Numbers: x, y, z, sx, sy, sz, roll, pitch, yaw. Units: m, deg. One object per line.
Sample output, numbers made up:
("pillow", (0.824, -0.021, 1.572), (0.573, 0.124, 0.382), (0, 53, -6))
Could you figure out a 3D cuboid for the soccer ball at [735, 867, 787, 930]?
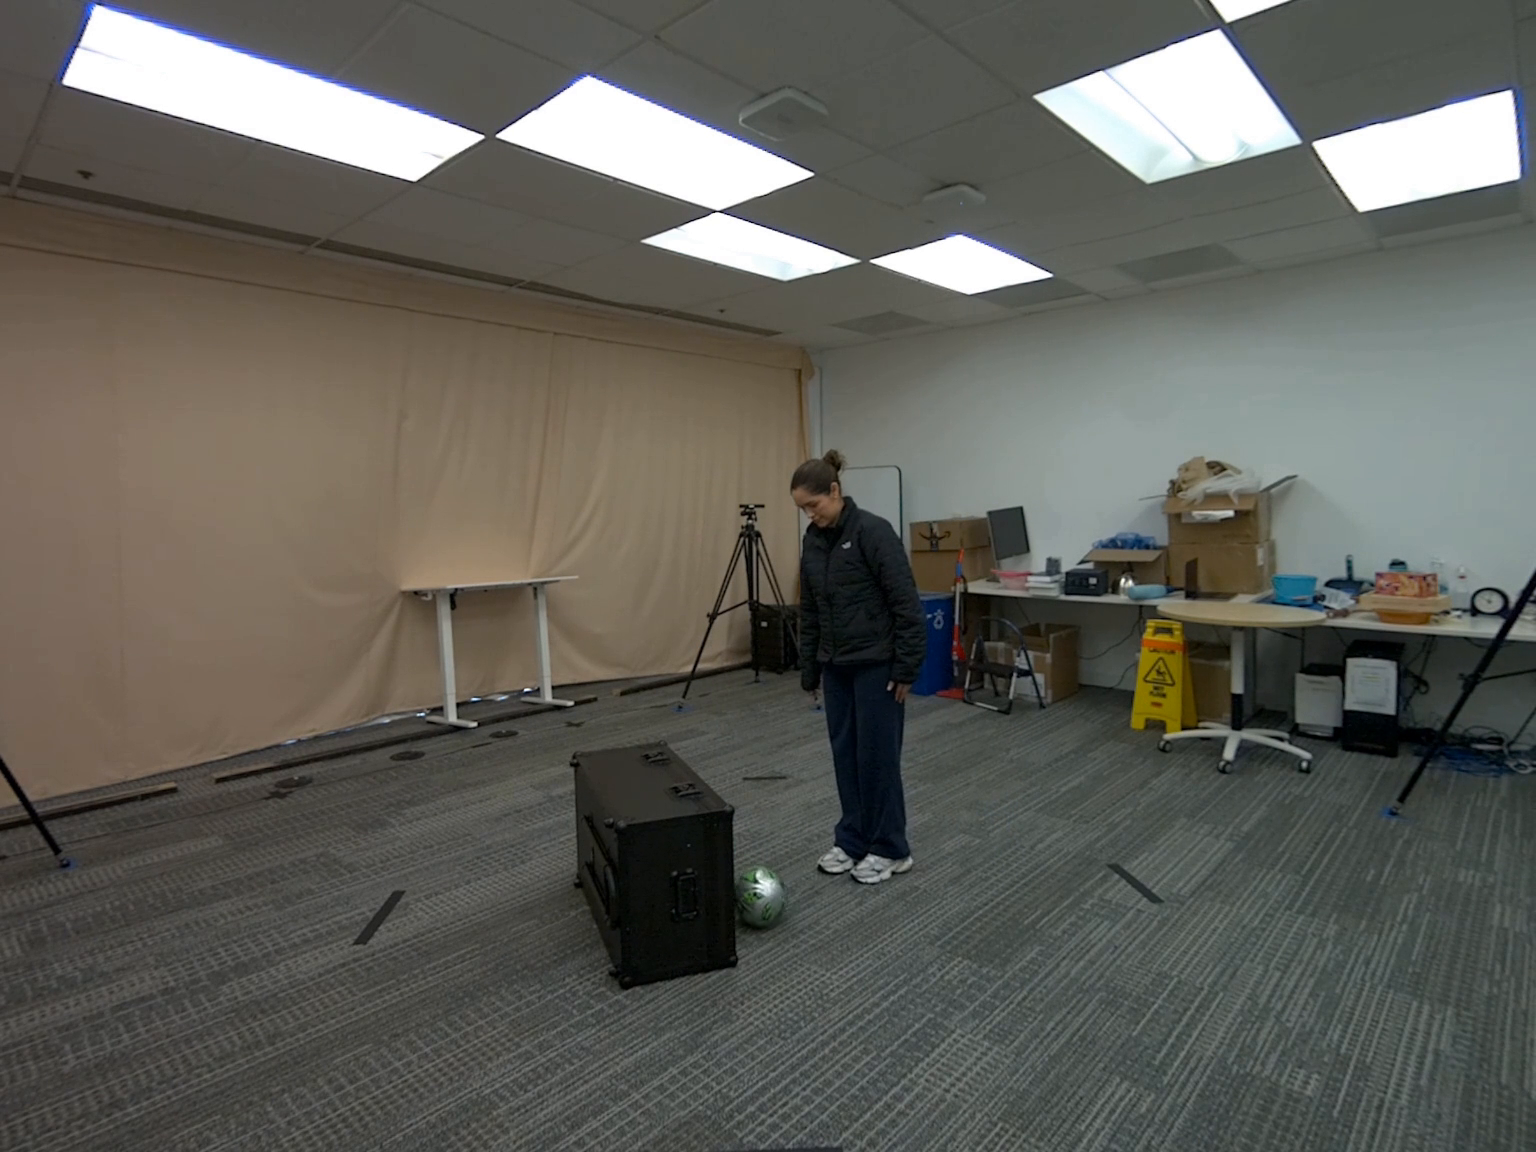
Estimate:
("soccer ball", (-0.024, 1.064, 2.786), (0.187, 0.187, 0.188), (-1, 4, -2))
